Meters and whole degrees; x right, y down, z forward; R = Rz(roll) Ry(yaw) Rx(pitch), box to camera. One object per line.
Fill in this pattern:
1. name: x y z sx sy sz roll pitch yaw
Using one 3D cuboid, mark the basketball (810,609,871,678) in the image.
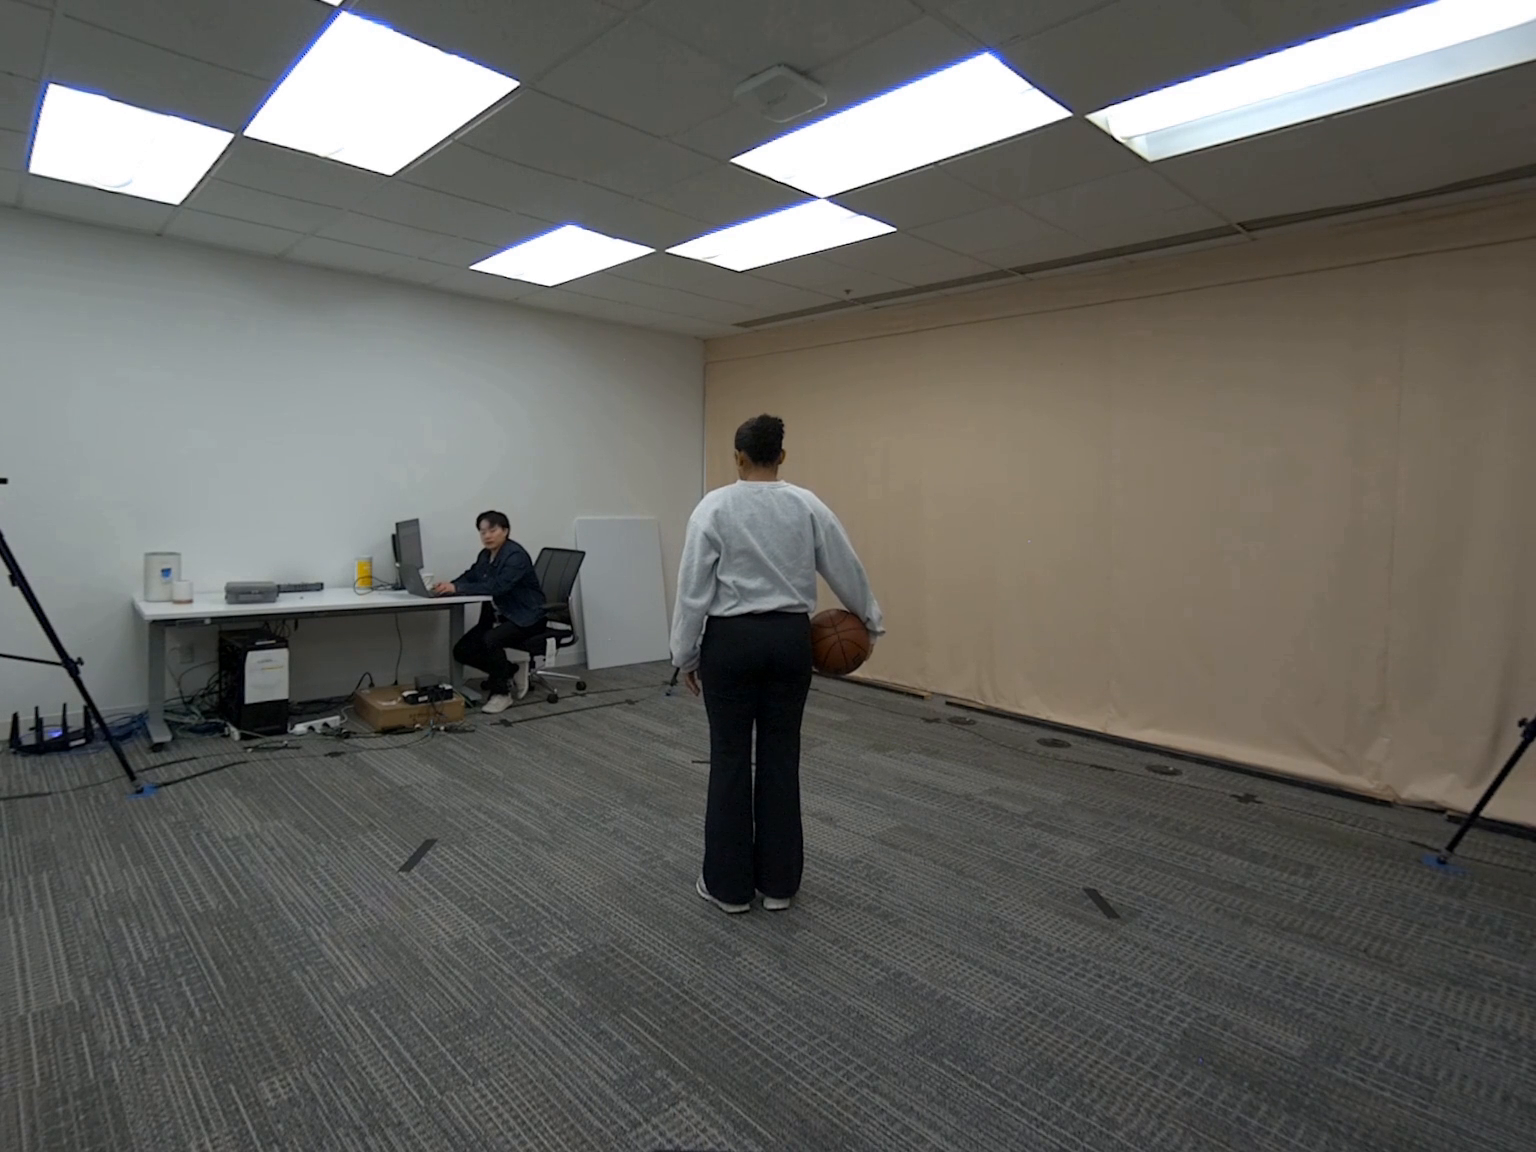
1. basketball: 0.235 0.233 2.997 0.236 0.235 0.237 1 4 -1
